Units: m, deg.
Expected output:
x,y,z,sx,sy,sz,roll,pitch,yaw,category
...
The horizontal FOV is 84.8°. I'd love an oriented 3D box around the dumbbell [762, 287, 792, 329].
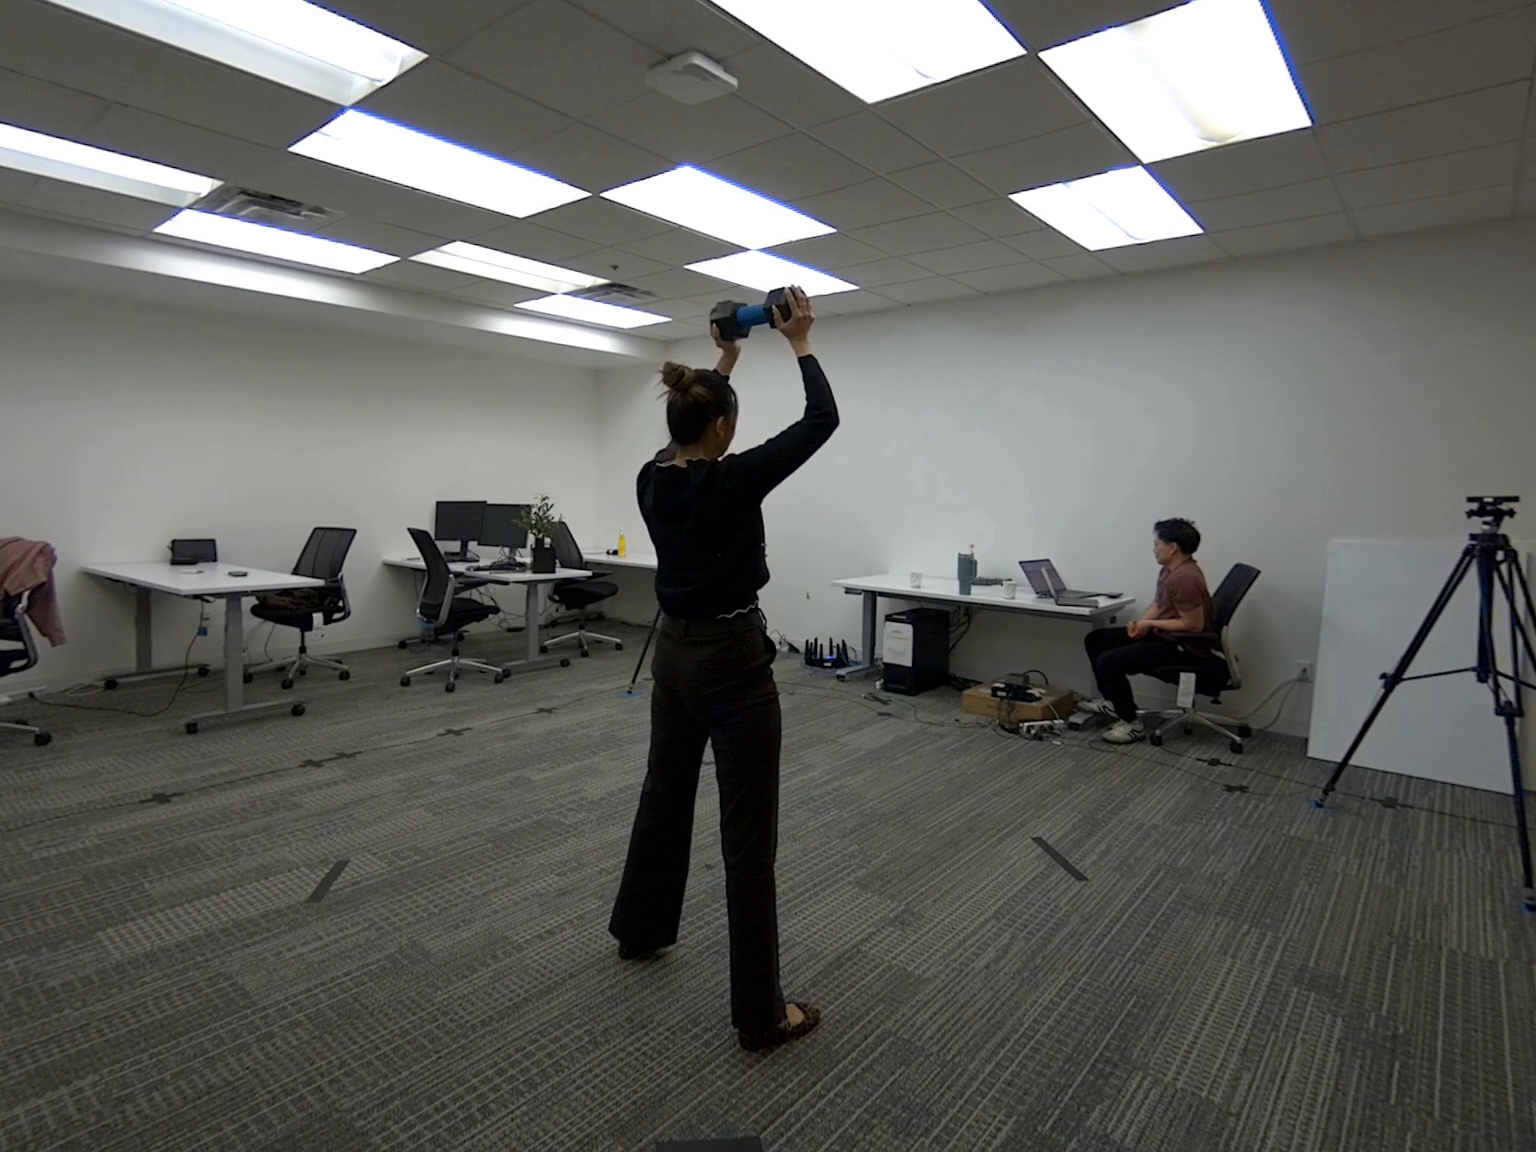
x,y,z,sx,sy,sz,roll,pitch,yaw,category
-0.035,-0.737,2.409,0.303,0.119,0.109,4,44,44,dumbbell
